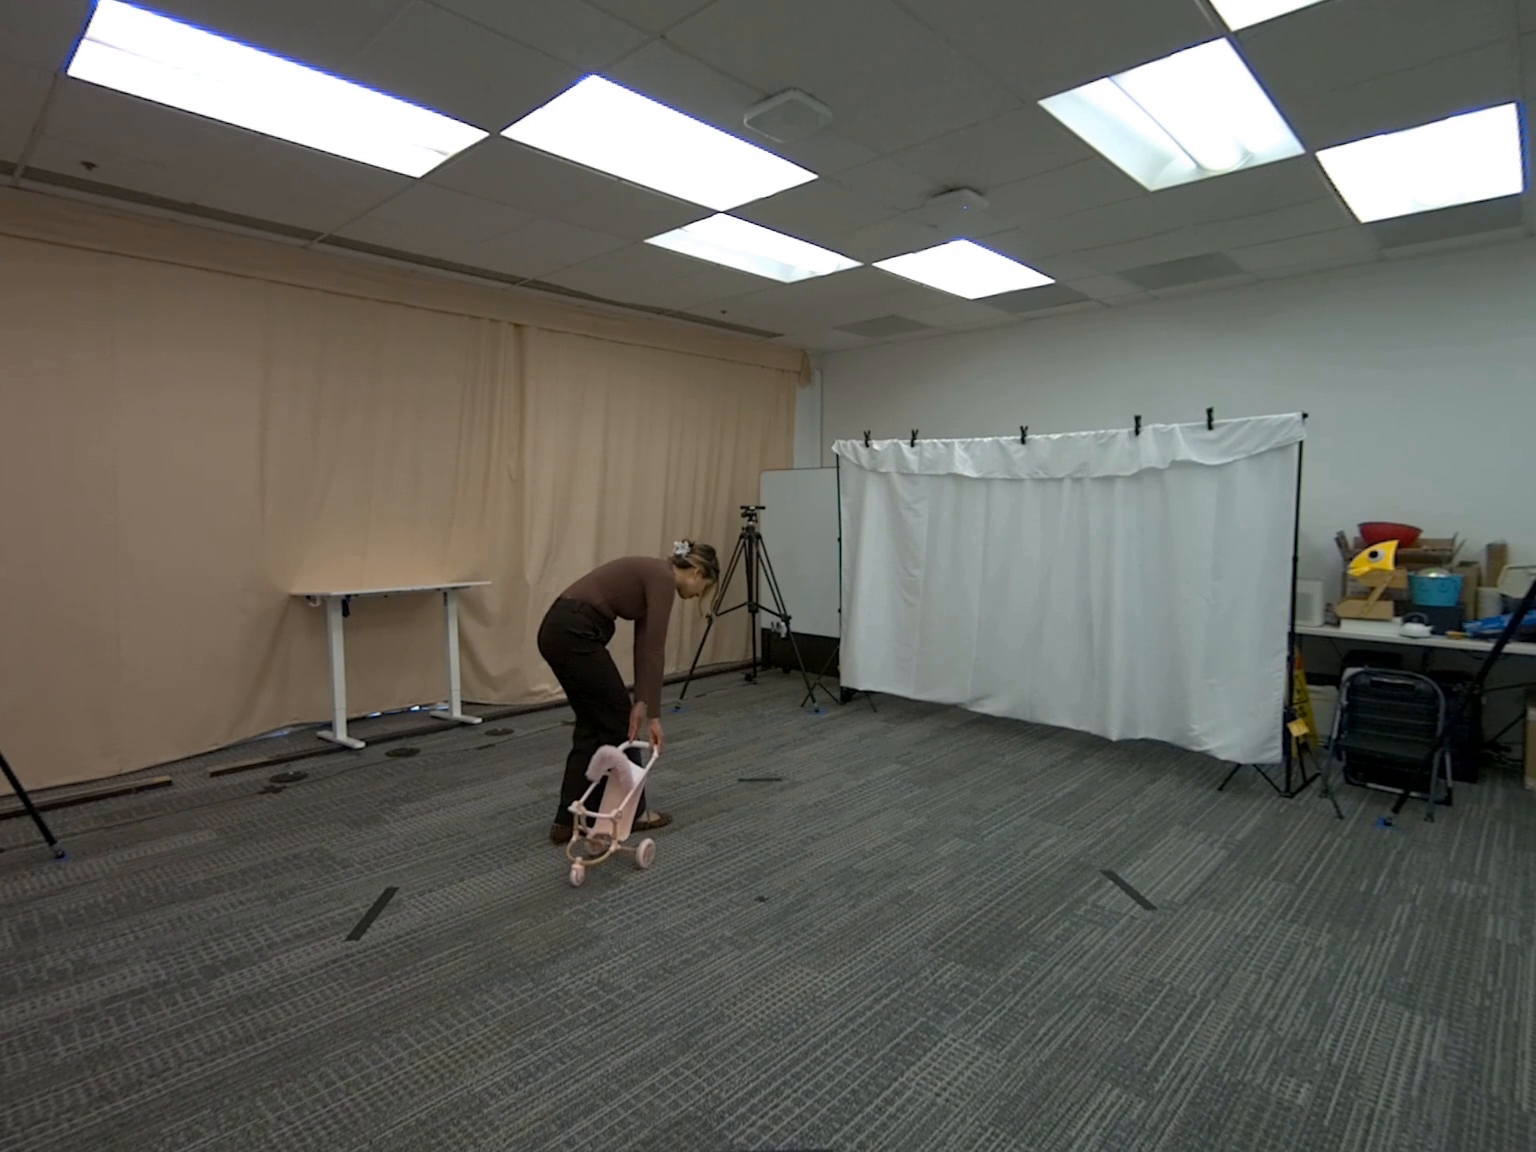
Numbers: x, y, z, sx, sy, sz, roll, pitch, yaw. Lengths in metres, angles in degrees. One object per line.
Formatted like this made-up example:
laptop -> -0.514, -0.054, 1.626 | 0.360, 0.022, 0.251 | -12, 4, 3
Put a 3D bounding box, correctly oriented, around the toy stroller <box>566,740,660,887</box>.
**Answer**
toy stroller -> -0.612, 0.904, 3.253 | 0.290, 0.538, 0.329 | 1, -13, 34
